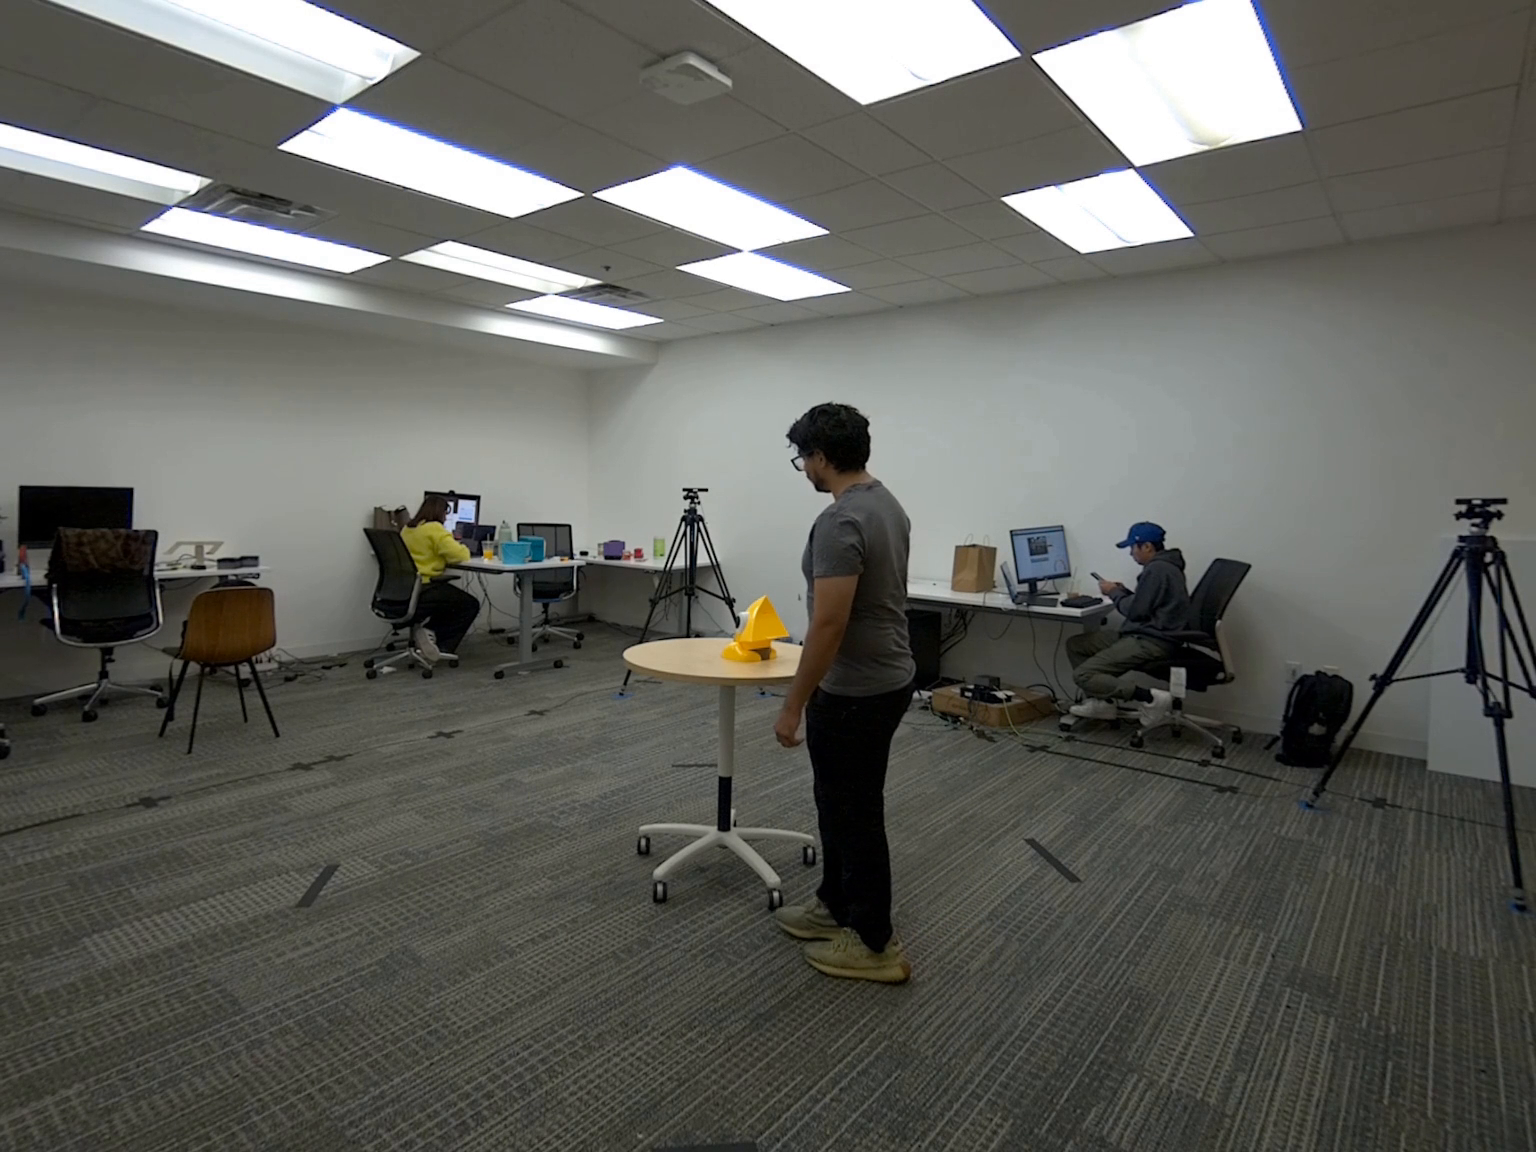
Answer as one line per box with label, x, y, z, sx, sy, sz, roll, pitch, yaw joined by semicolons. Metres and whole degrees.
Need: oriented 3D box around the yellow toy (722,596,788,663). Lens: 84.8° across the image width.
yellow toy;-0.068;0.177;3.081;0.199;0.230;0.198;4;4;43
